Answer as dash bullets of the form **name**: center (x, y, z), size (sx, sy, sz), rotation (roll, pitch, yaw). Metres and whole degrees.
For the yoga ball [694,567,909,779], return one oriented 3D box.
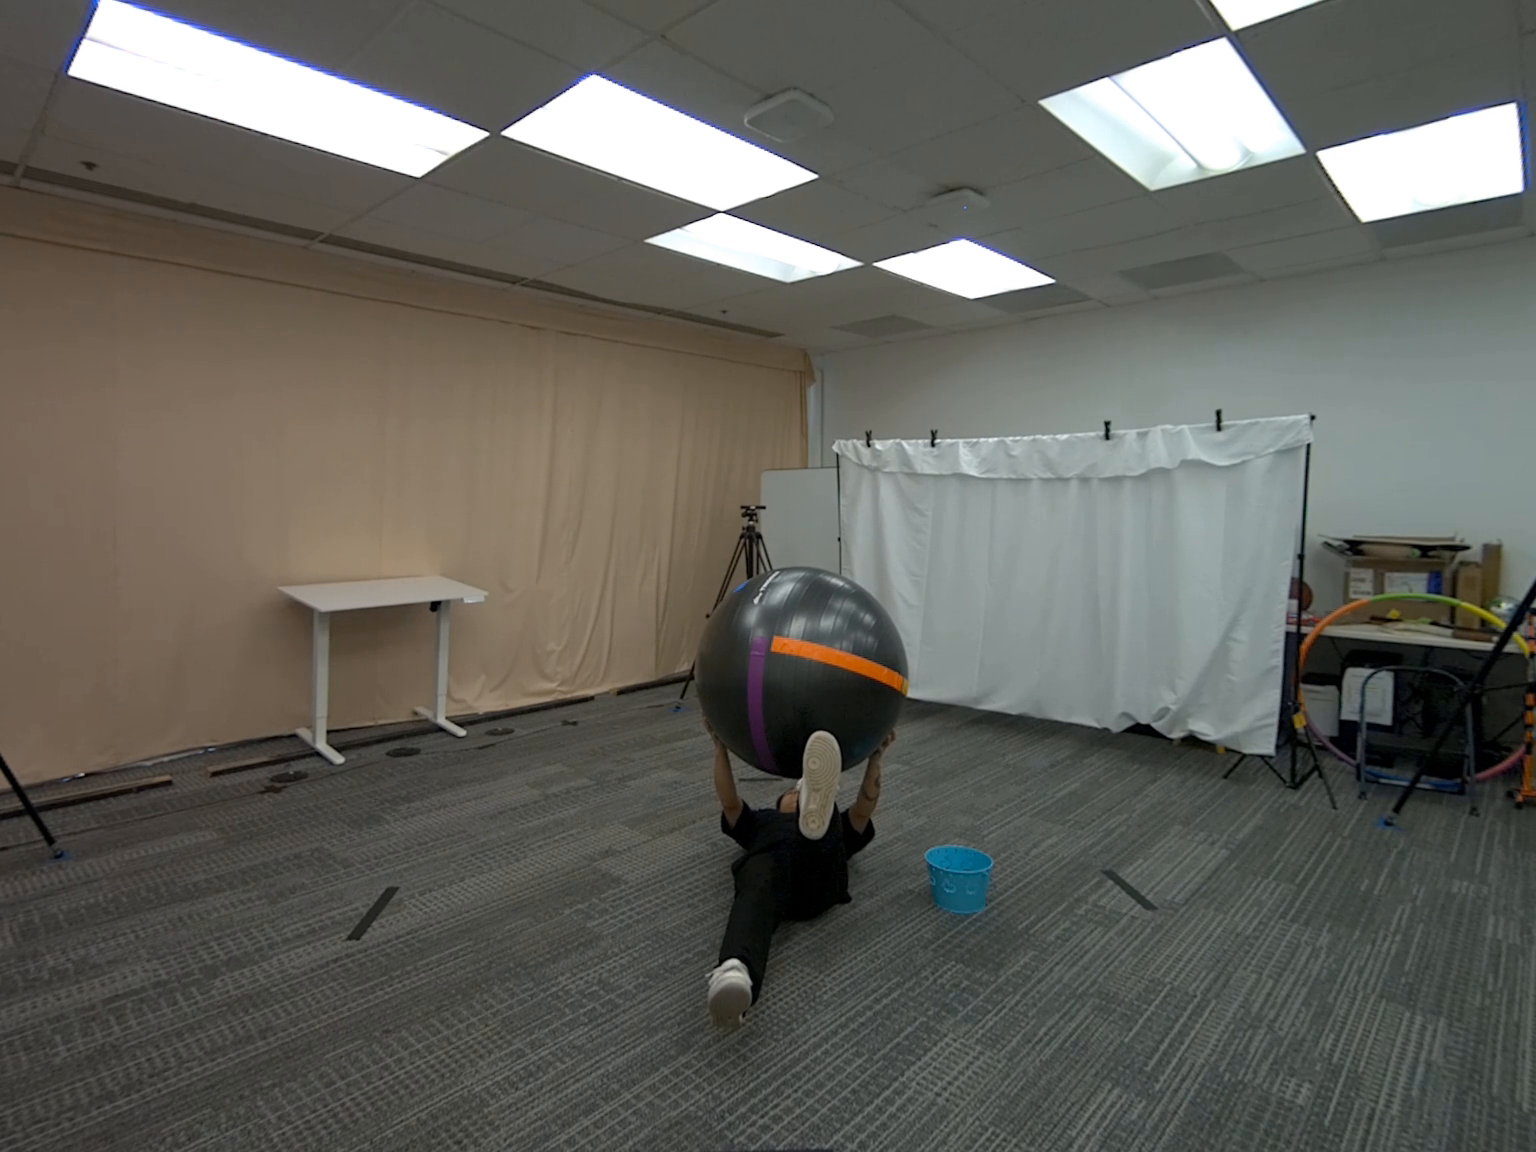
- **yoga ball**: center (0.117, 0.351, 3.052), size (0.757, 0.756, 0.760), rotation (0, 4, -2)
